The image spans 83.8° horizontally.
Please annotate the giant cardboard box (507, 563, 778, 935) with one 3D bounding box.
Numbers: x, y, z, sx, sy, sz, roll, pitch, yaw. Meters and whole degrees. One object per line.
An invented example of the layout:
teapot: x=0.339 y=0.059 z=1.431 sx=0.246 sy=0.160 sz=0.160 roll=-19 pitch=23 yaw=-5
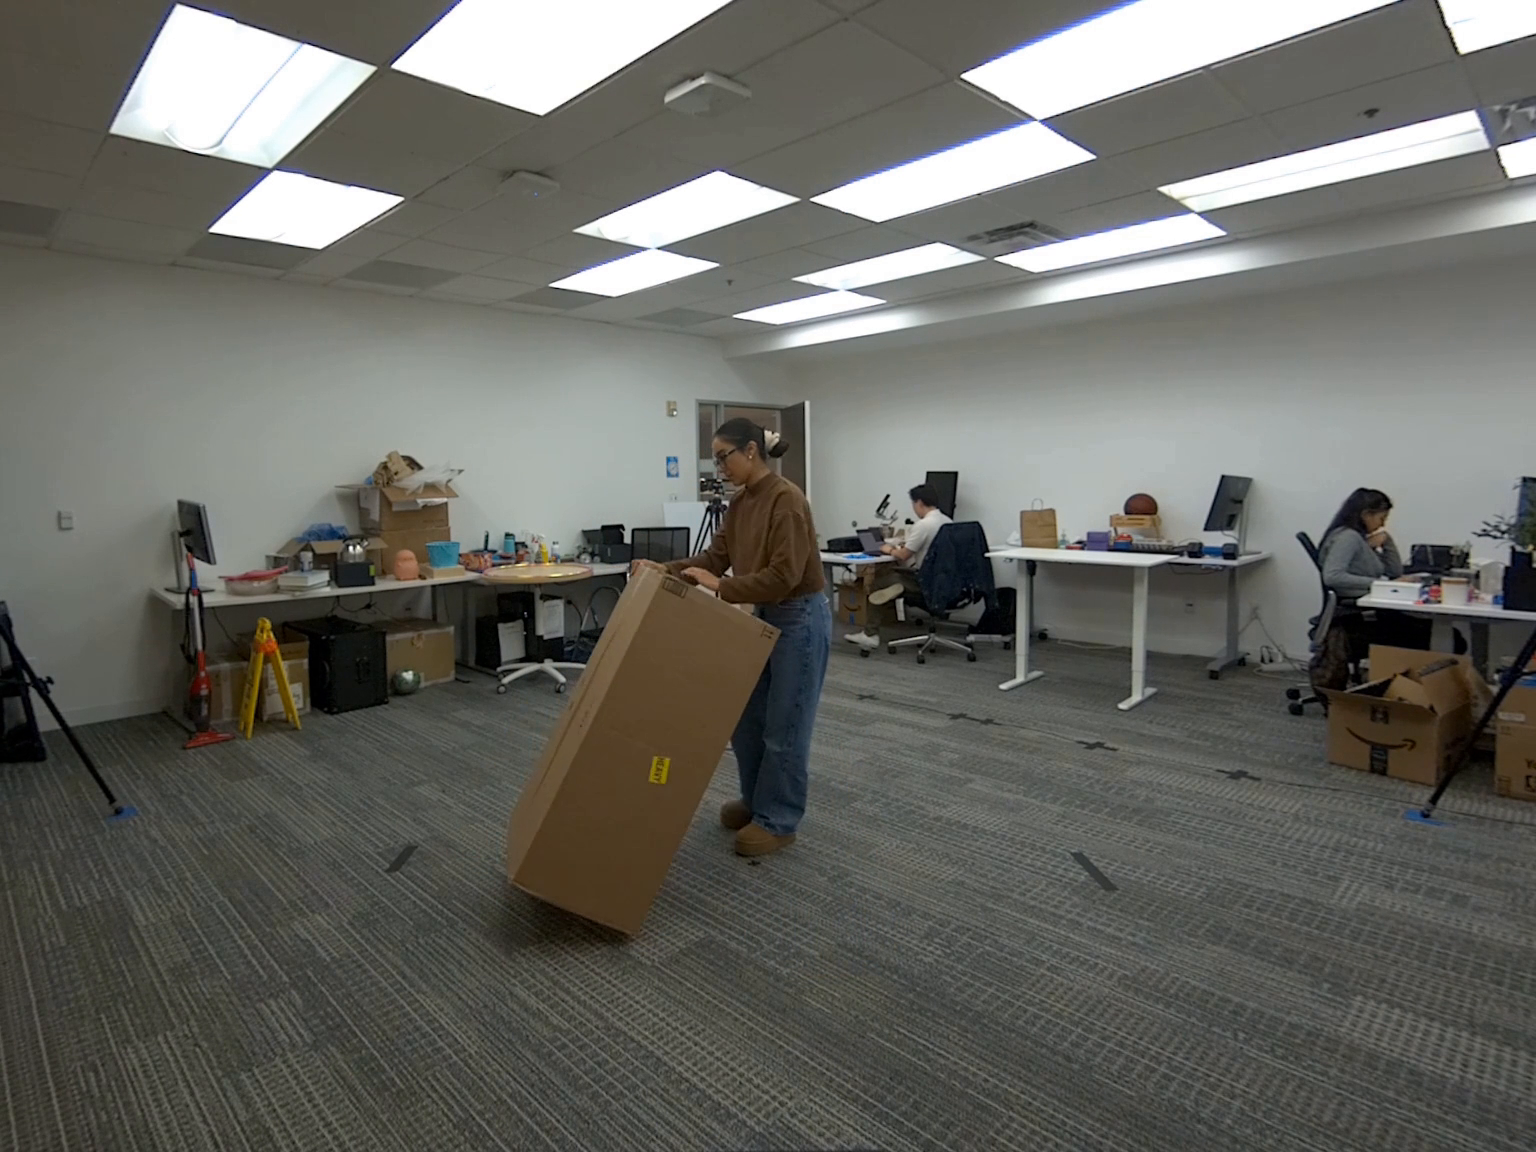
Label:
giant cardboard box: x=-0.437 y=0.528 z=2.860 sx=0.438 sy=1.030 sz=0.594 roll=27 pitch=-6 yaw=-17
